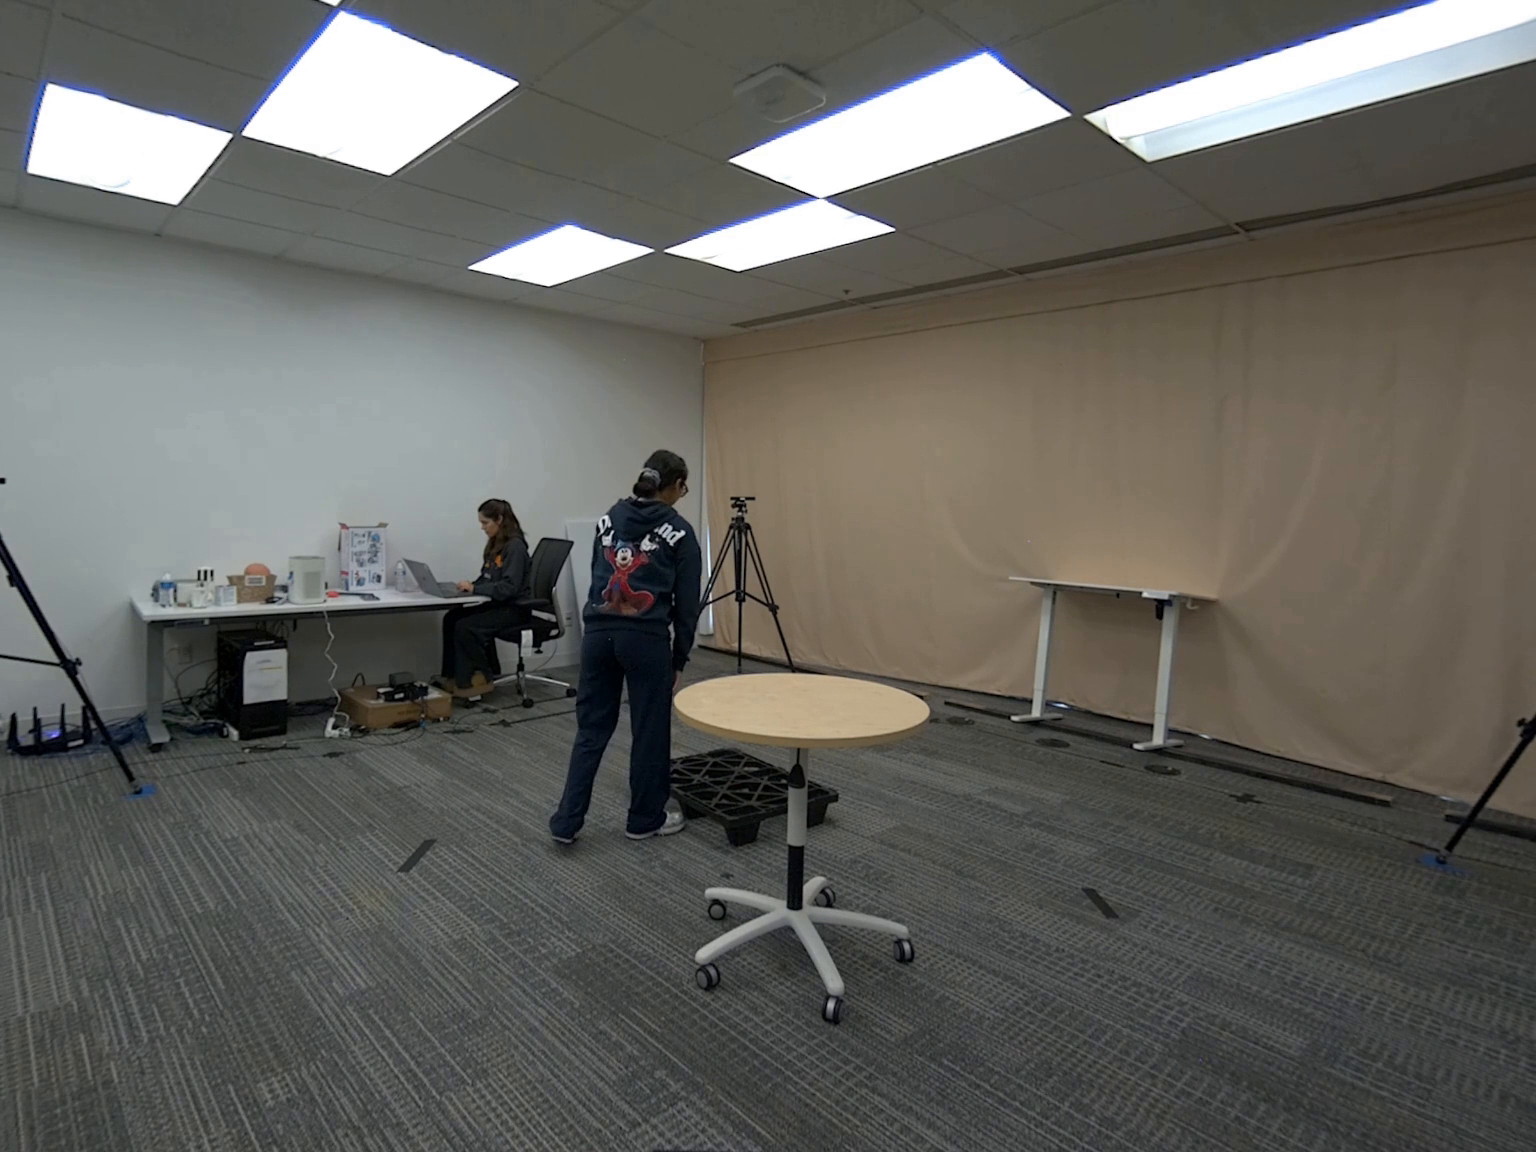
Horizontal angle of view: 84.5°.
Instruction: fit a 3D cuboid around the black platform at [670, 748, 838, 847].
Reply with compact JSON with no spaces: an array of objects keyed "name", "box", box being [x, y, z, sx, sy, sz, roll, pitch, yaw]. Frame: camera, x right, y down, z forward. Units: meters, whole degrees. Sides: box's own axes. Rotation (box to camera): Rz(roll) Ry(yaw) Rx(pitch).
[{"name":"black platform","box":[-0.179,0.982,3.790,0.592,0.143,0.826,-3,6,-38]}]
